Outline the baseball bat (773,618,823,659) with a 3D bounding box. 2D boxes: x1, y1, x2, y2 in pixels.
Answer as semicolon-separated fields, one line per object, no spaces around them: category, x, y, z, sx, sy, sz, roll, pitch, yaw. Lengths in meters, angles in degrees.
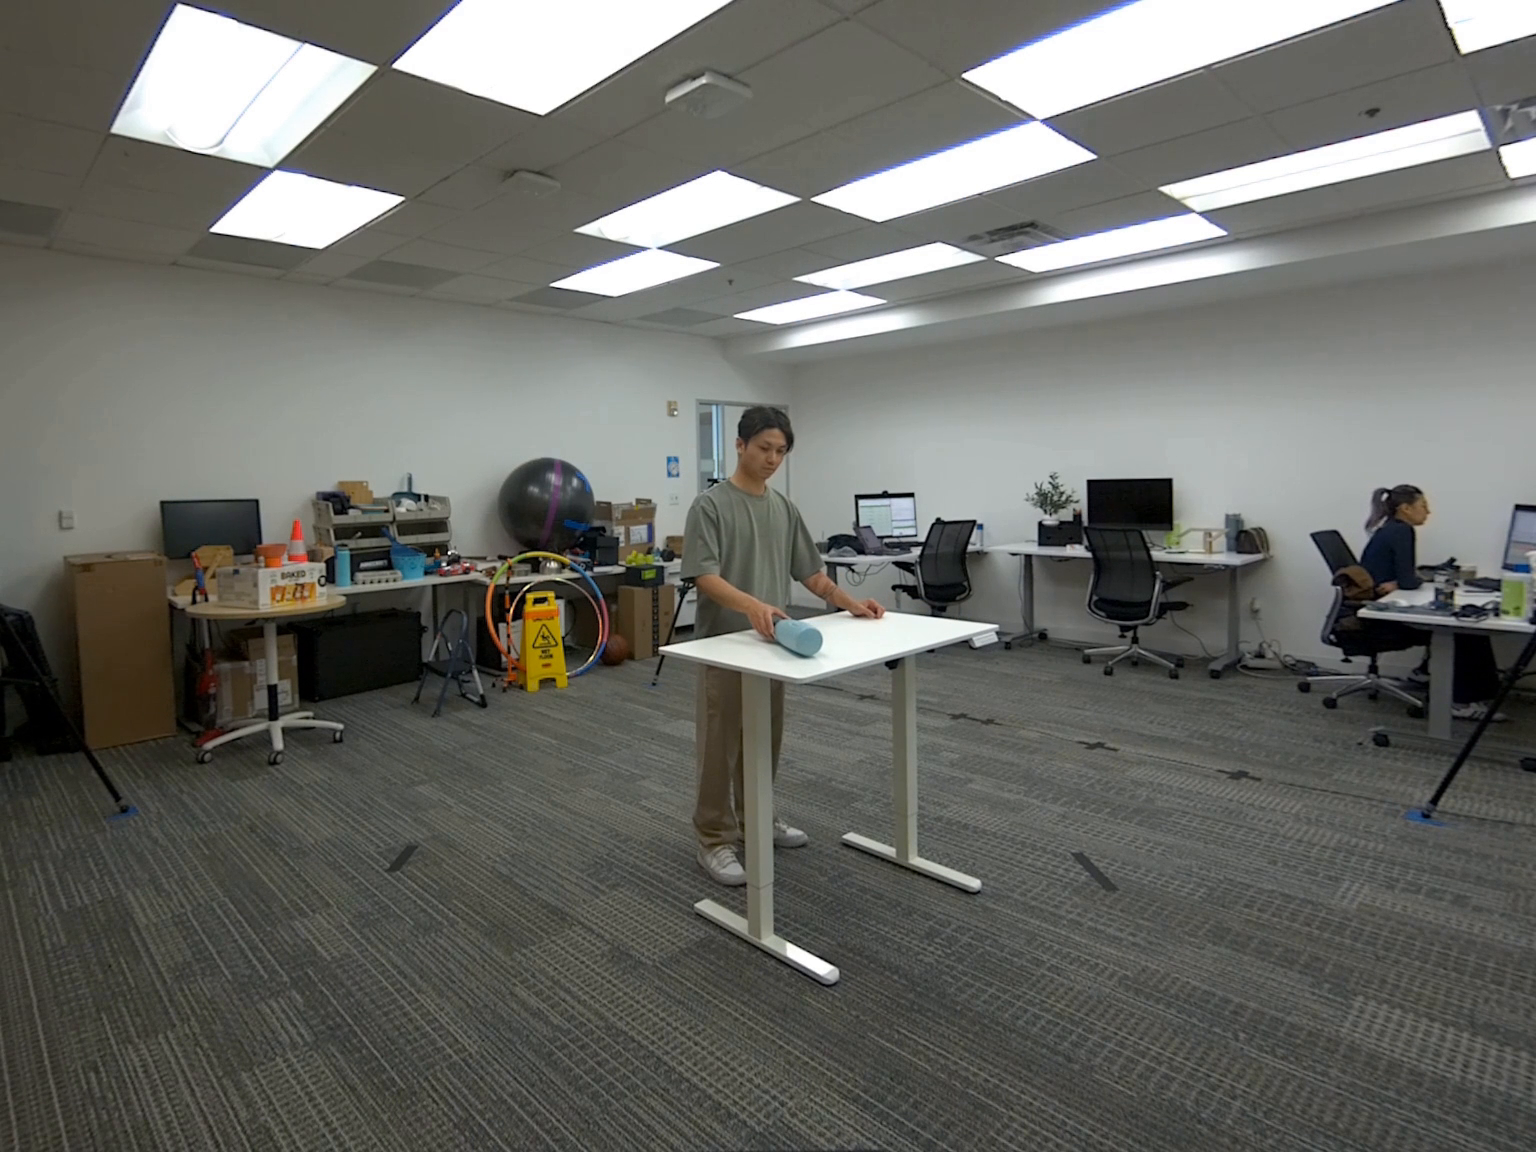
baseball bat;0.057;0.178;2.693;0.088;0.089;0.551;-2;3;-16
